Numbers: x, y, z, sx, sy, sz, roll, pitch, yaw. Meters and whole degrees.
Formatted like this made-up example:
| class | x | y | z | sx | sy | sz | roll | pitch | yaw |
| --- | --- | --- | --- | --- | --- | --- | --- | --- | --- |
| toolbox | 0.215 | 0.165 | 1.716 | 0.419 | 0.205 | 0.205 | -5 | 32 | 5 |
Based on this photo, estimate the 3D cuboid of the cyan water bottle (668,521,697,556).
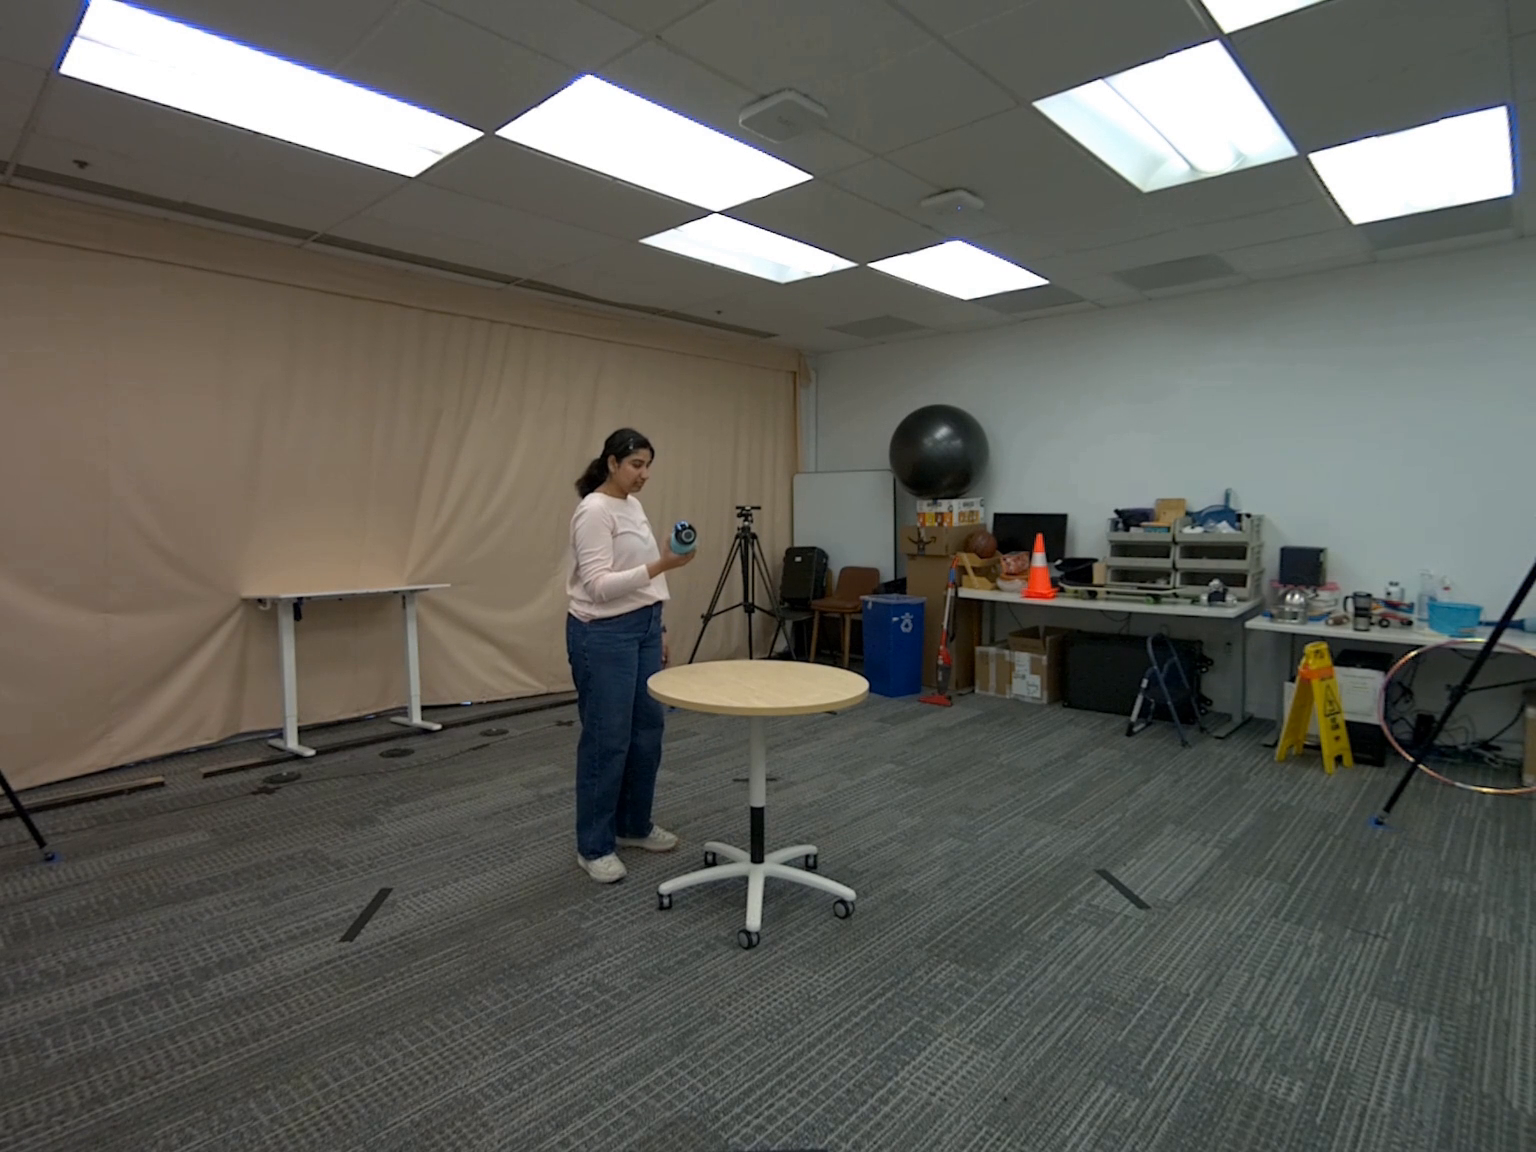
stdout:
| class | x | y | z | sx | sy | sz | roll | pitch | yaw |
| --- | --- | --- | --- | --- | --- | --- | --- | --- | --- |
| cyan water bottle | -0.315 | -0.115 | 3.062 | 0.091 | 0.093 | 0.283 | 0 | -18 | -13 |
